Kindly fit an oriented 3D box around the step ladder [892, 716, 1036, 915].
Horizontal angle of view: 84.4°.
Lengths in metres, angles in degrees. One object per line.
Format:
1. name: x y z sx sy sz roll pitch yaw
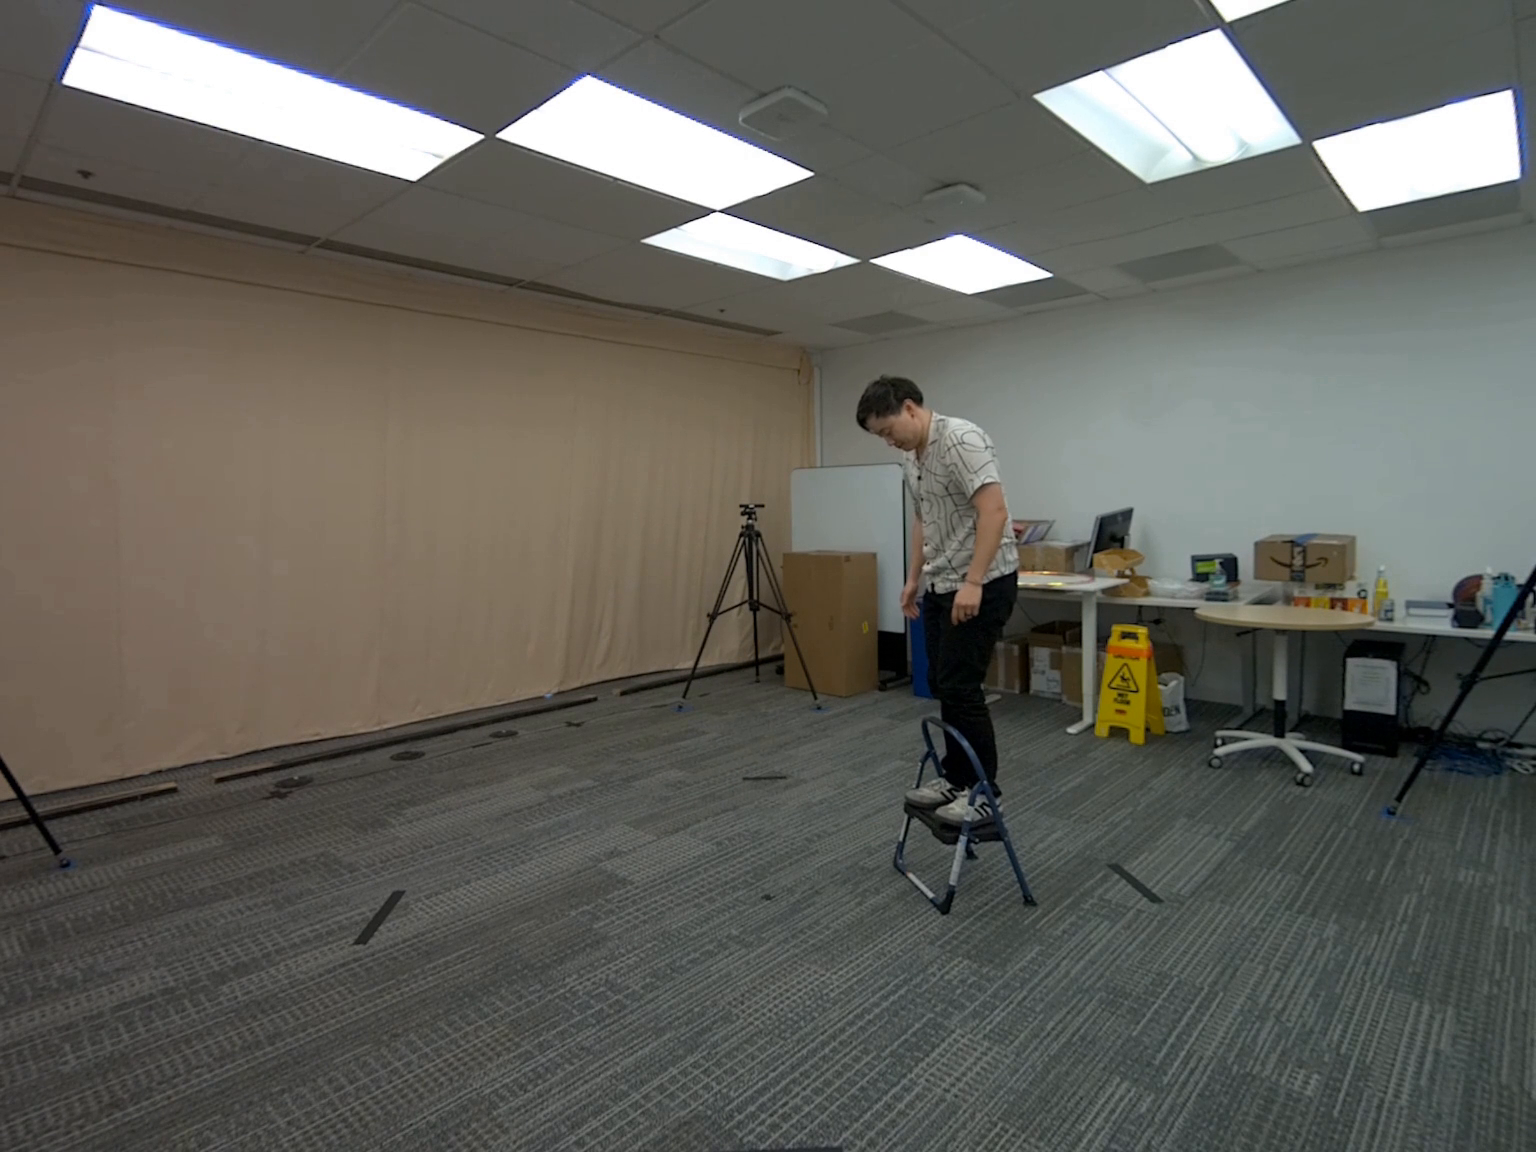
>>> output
1. step ladder: 0.700 0.822 3.047 0.344 0.605 0.438 -2 4 -15
